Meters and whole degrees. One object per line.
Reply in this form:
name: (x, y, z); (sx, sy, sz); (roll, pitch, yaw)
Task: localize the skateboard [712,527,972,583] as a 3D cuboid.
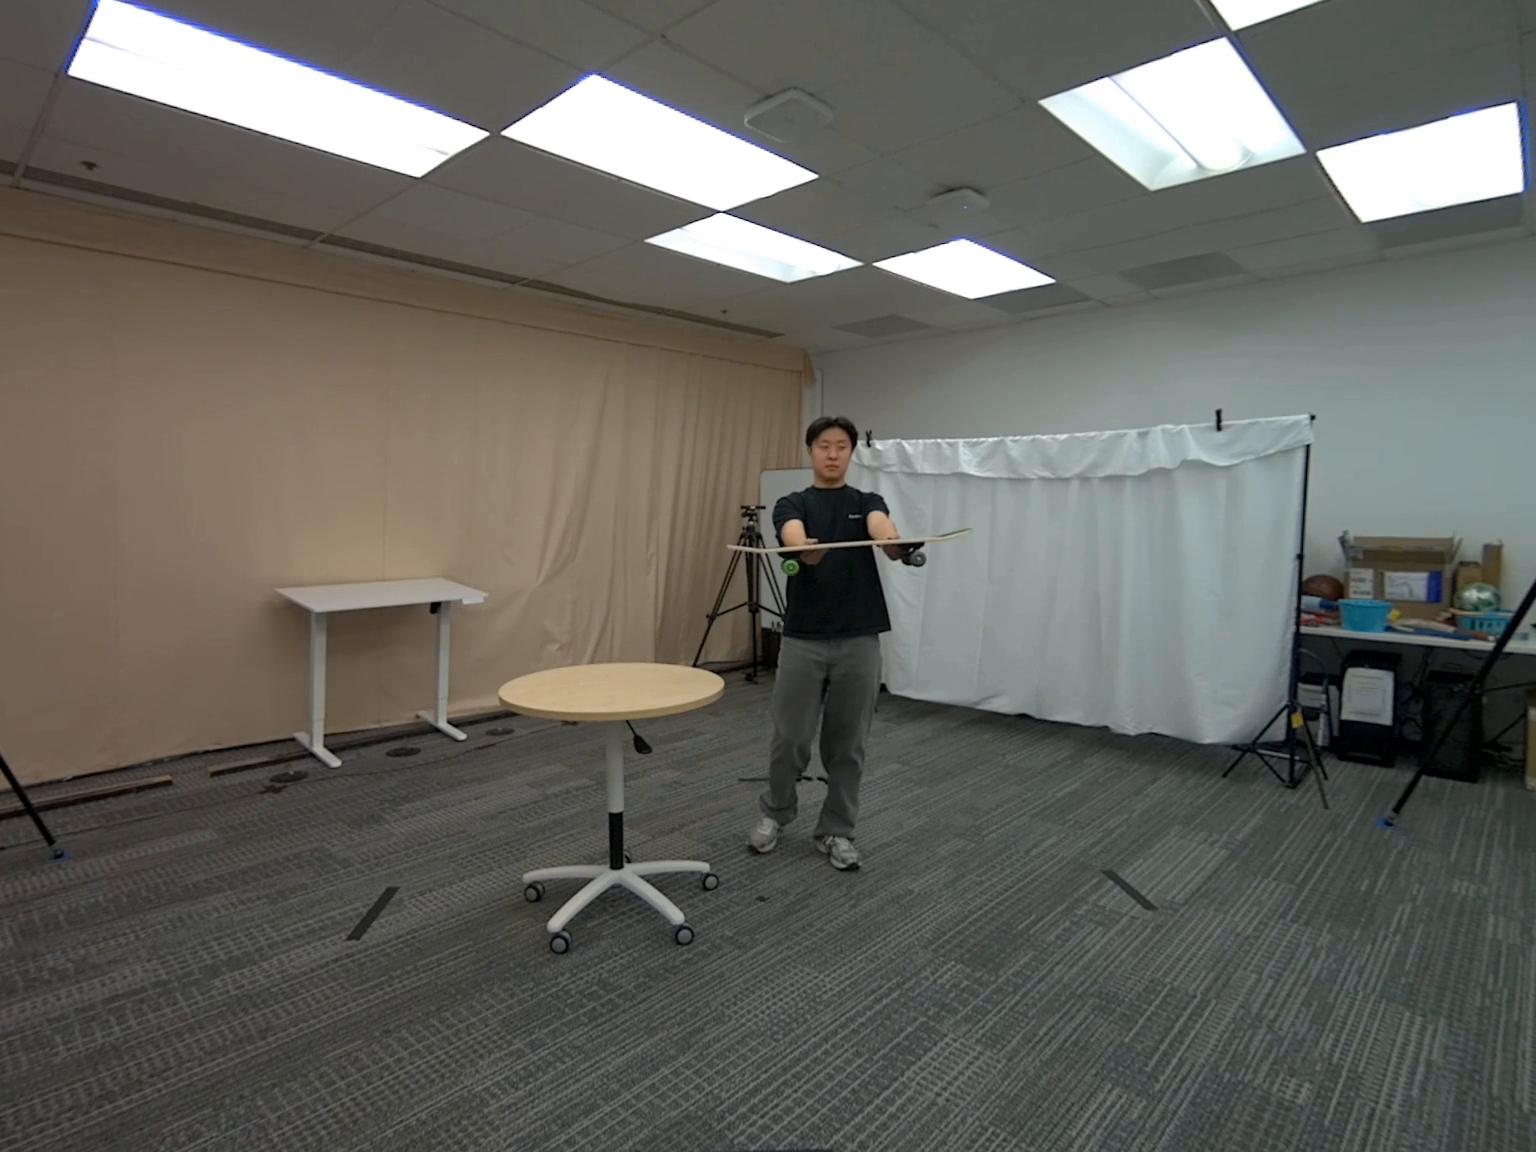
skateboard: (0.222, -0.071, 2.708); (0.788, 0.110, 0.193); (-4, 3, 4)
